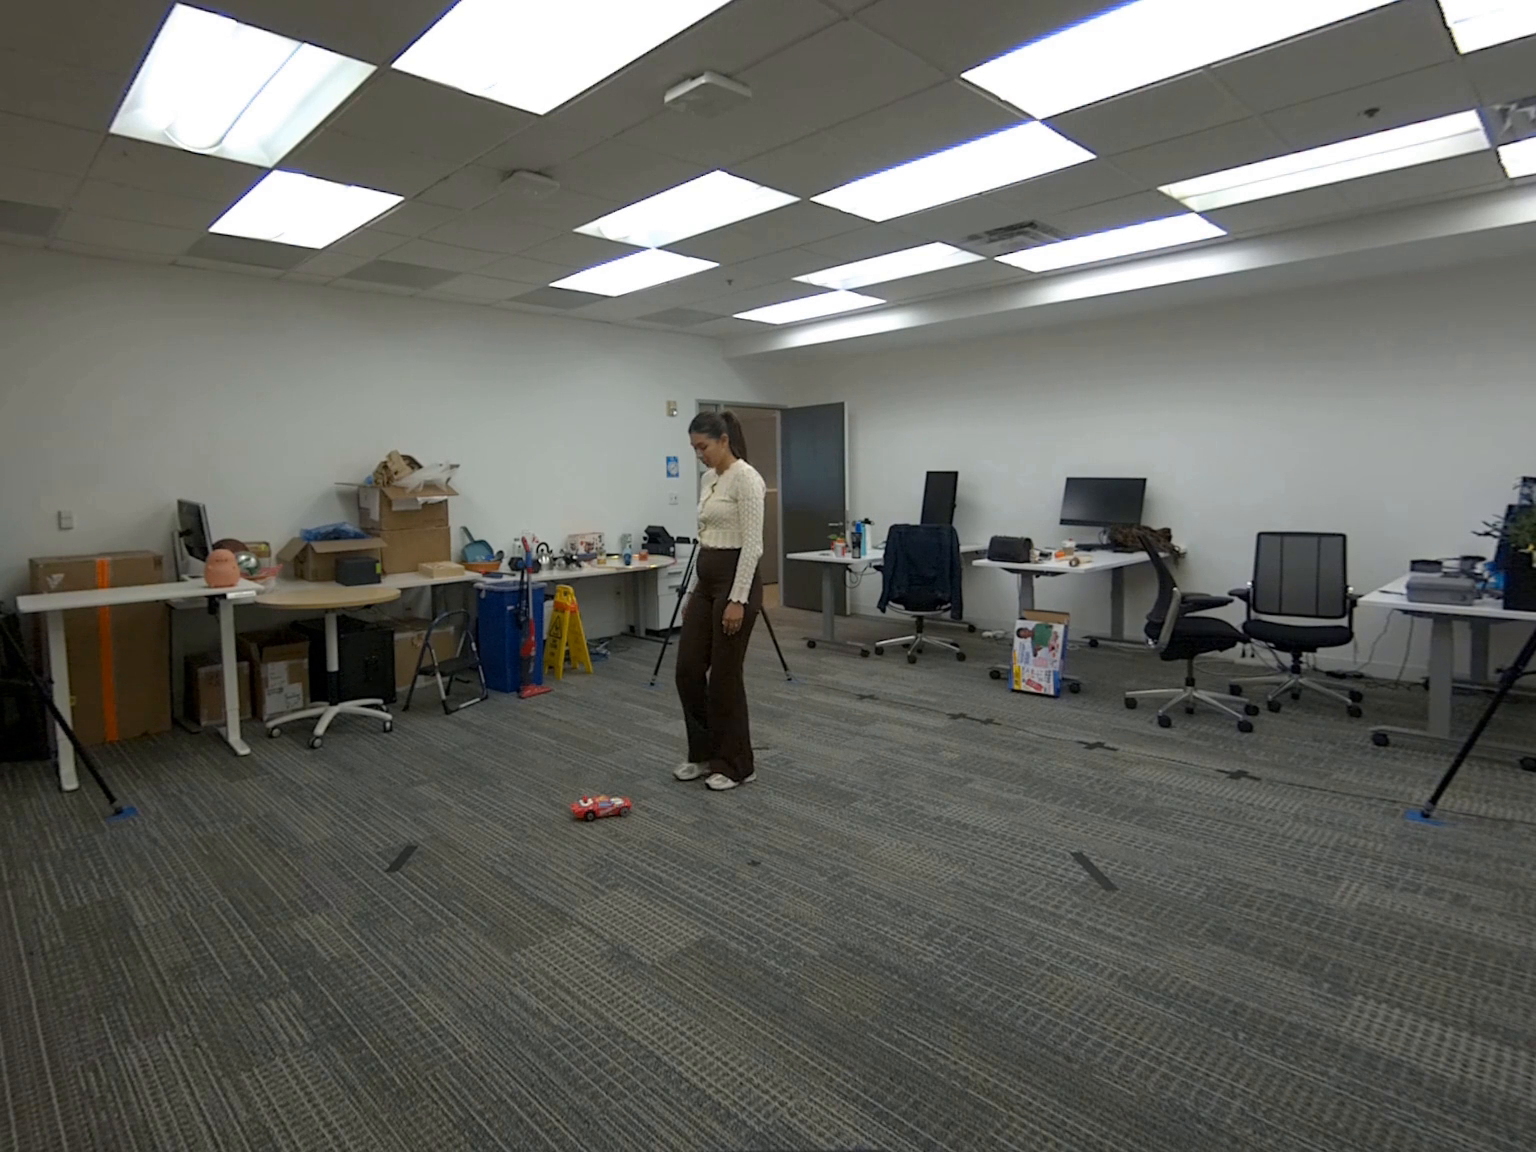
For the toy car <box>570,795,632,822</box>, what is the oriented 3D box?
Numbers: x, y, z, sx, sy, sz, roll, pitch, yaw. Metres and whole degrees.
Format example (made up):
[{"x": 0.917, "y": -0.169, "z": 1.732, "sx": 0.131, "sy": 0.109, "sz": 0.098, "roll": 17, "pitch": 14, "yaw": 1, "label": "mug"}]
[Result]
[{"x": -0.706, "y": 0.971, "z": 3.582, "sx": 0.249, "sy": 0.083, "sz": 0.133, "roll": 9, "pitch": 2, "yaw": -20, "label": "toy car"}]
